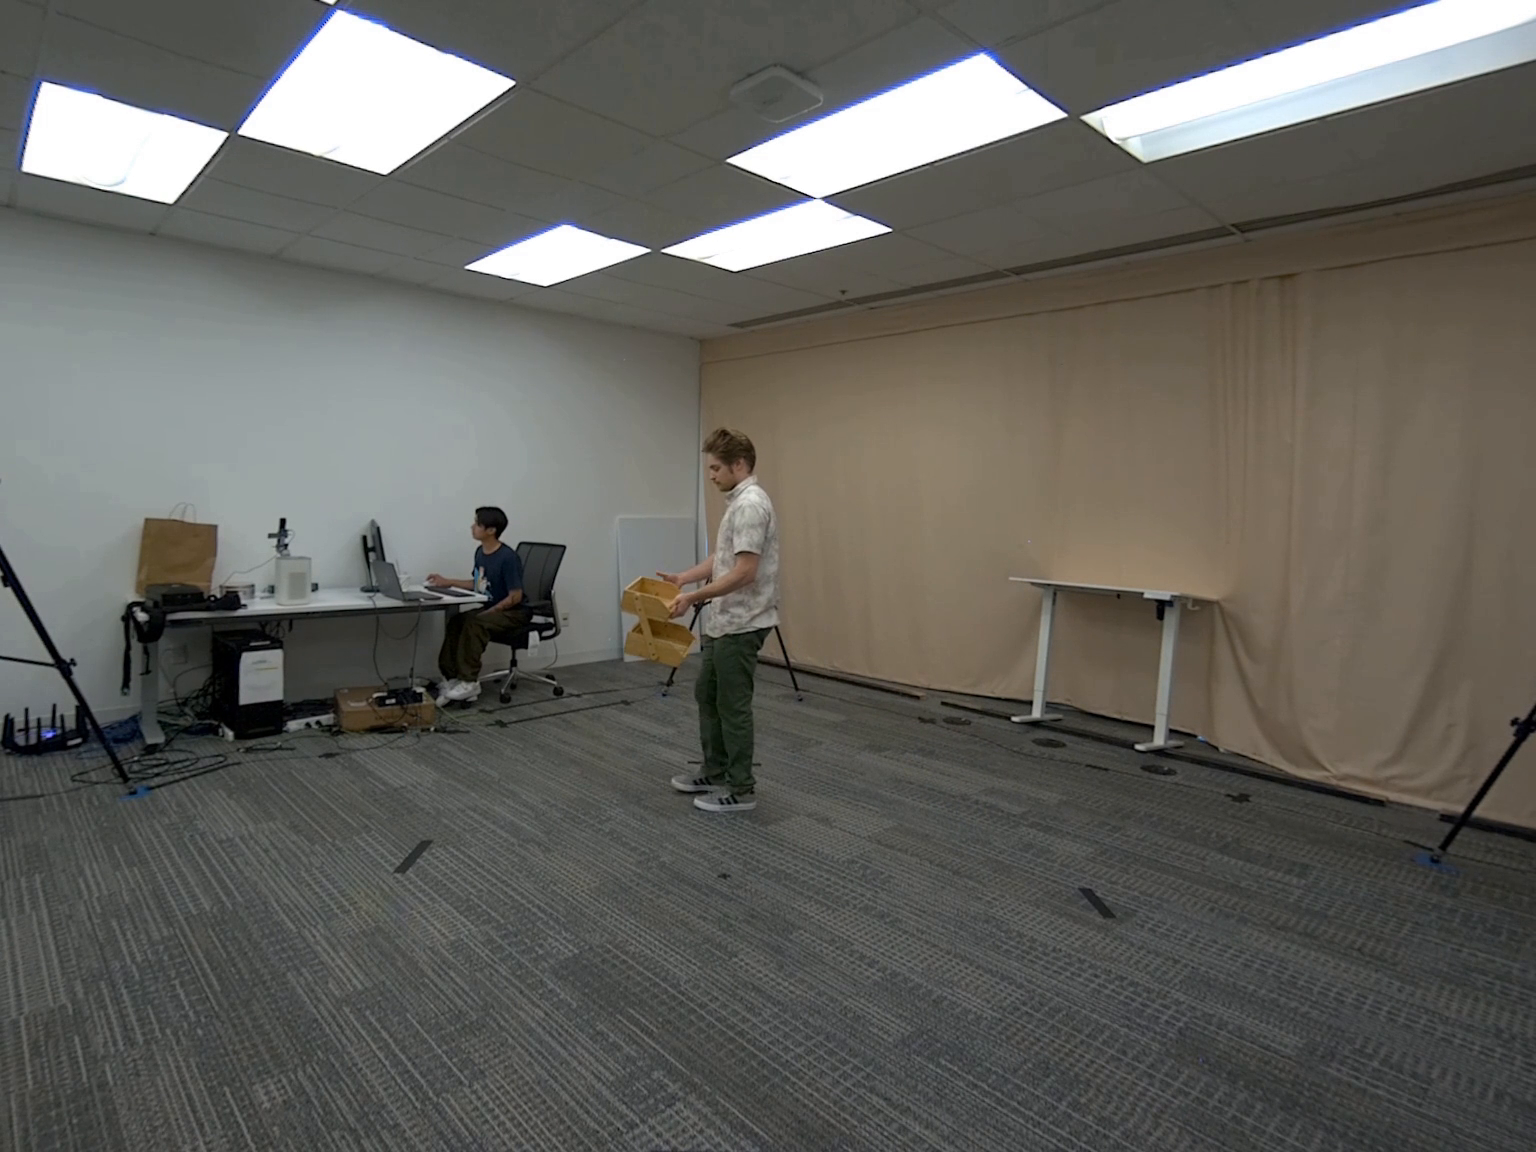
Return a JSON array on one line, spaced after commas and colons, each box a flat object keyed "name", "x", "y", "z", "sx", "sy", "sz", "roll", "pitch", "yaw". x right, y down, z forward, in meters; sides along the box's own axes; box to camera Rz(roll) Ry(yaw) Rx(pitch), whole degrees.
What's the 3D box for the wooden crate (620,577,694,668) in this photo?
[{"name": "wooden crate", "x": -0.452, "y": 0.182, "z": 3.542, "sx": 0.303, "sy": 0.272, "sz": 0.325, "roll": 15, "pitch": 9, "yaw": 1}]
